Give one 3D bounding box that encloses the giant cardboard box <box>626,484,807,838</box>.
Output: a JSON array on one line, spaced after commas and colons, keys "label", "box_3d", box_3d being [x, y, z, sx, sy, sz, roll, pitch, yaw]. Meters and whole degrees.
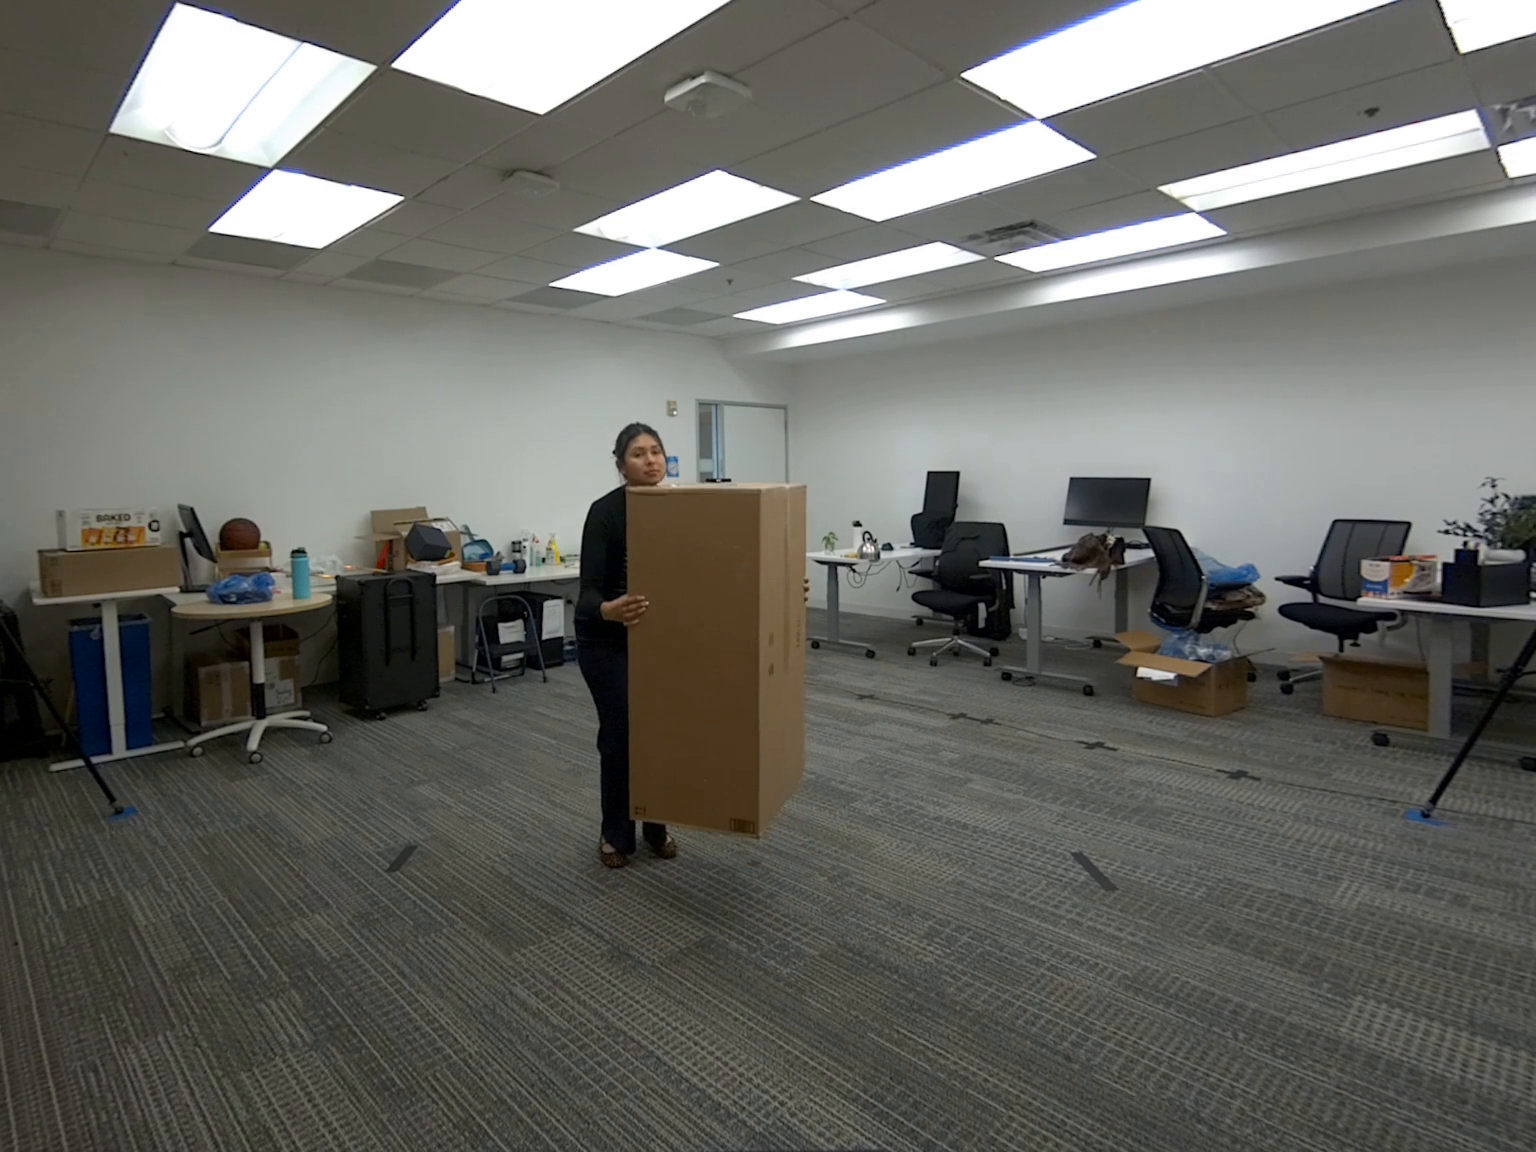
[{"label": "giant cardboard box", "box_3d": [-0.147, 0.227, 2.782, 0.434, 1.021, 0.570, 2, 6, 17]}]
